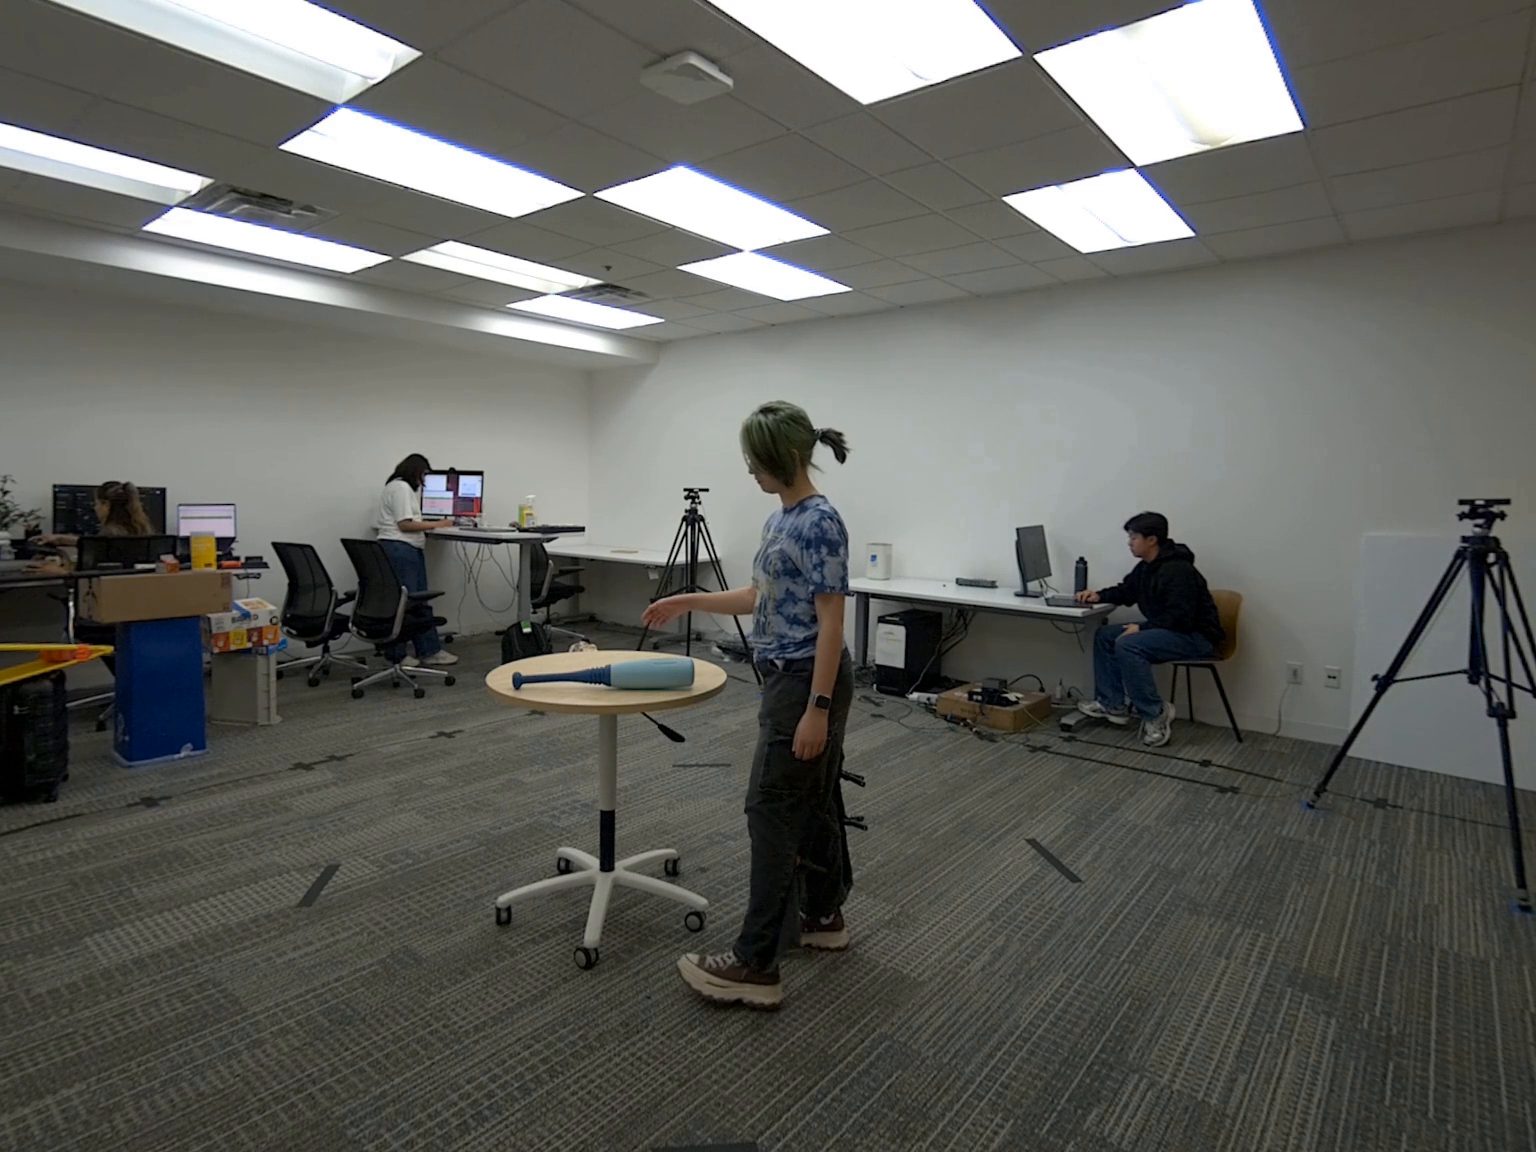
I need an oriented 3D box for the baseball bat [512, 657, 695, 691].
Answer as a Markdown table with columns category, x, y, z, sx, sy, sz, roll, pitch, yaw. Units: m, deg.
| category | x | y | z | sx | sy | sz | roll | pitch | yaw |
| --- | --- | --- | --- | --- | --- | --- | --- | --- | --- |
| baseball bat | -0.512 | 0.302 | 2.549 | 0.539 | 0.089 | 0.090 | -1 | 4 | -6 |
